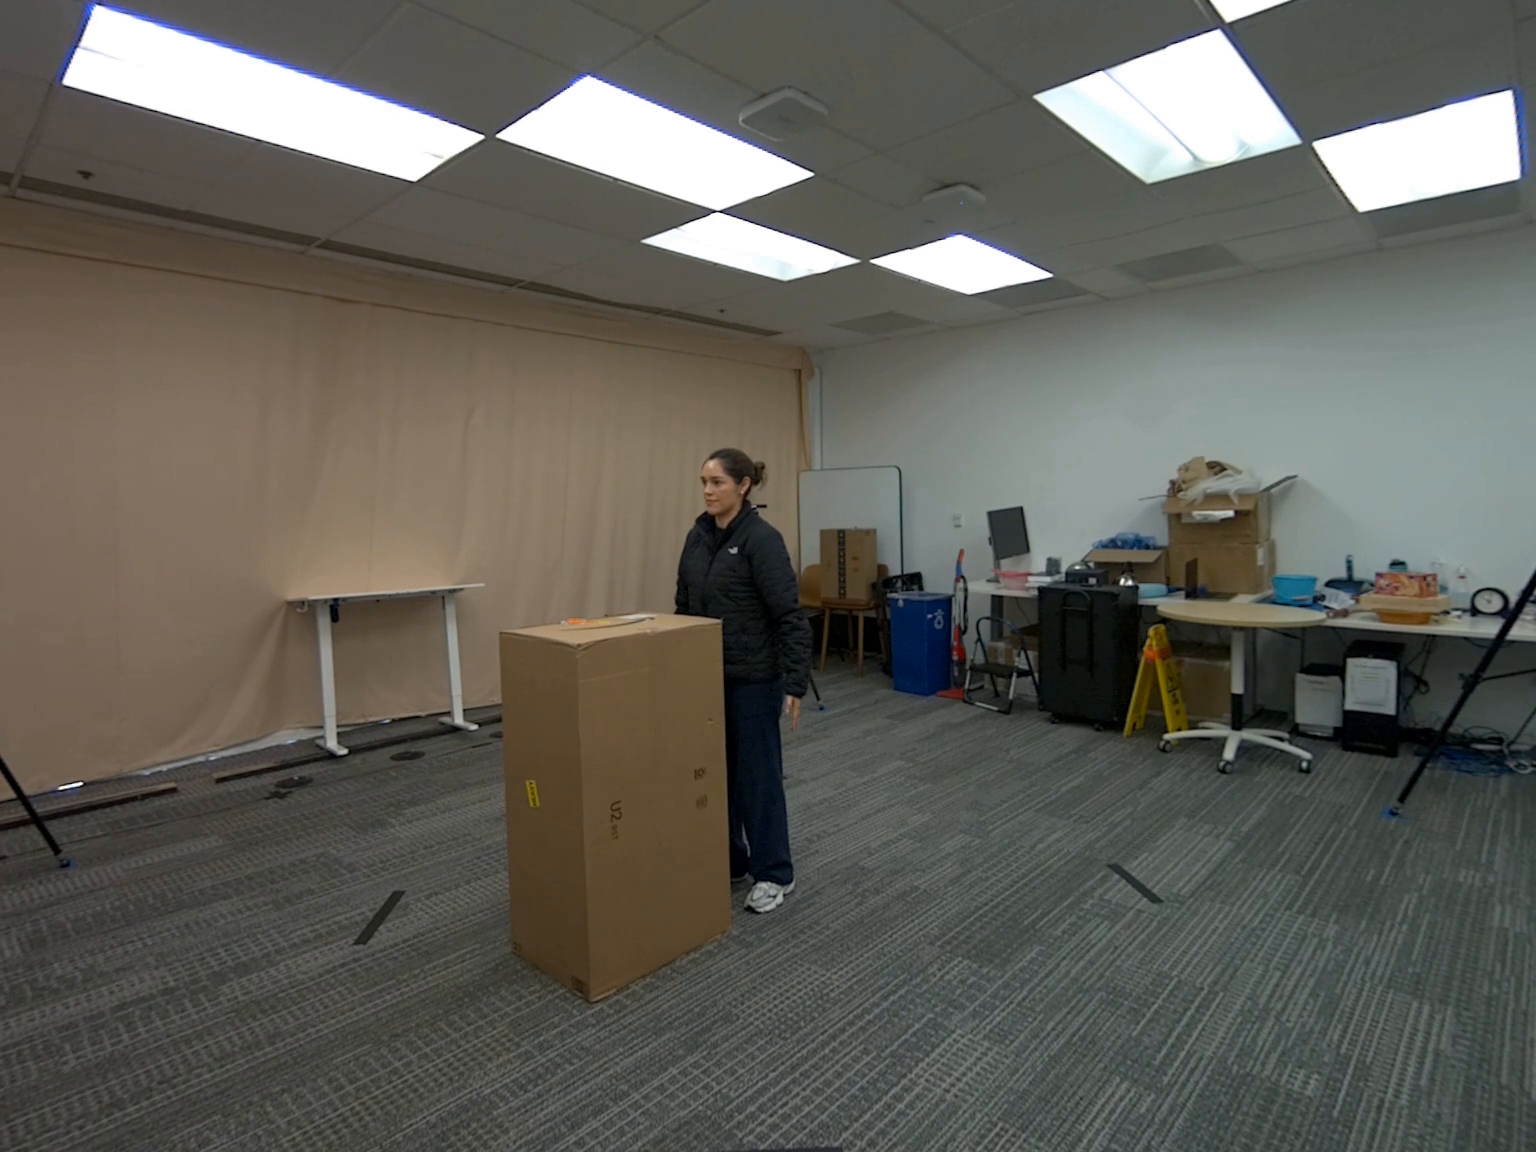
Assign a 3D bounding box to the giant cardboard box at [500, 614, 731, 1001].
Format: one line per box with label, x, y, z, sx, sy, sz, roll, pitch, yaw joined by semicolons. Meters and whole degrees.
giant cardboard box;-0.469;0.667;2.683;0.440;1.024;0.560;2;4;43
